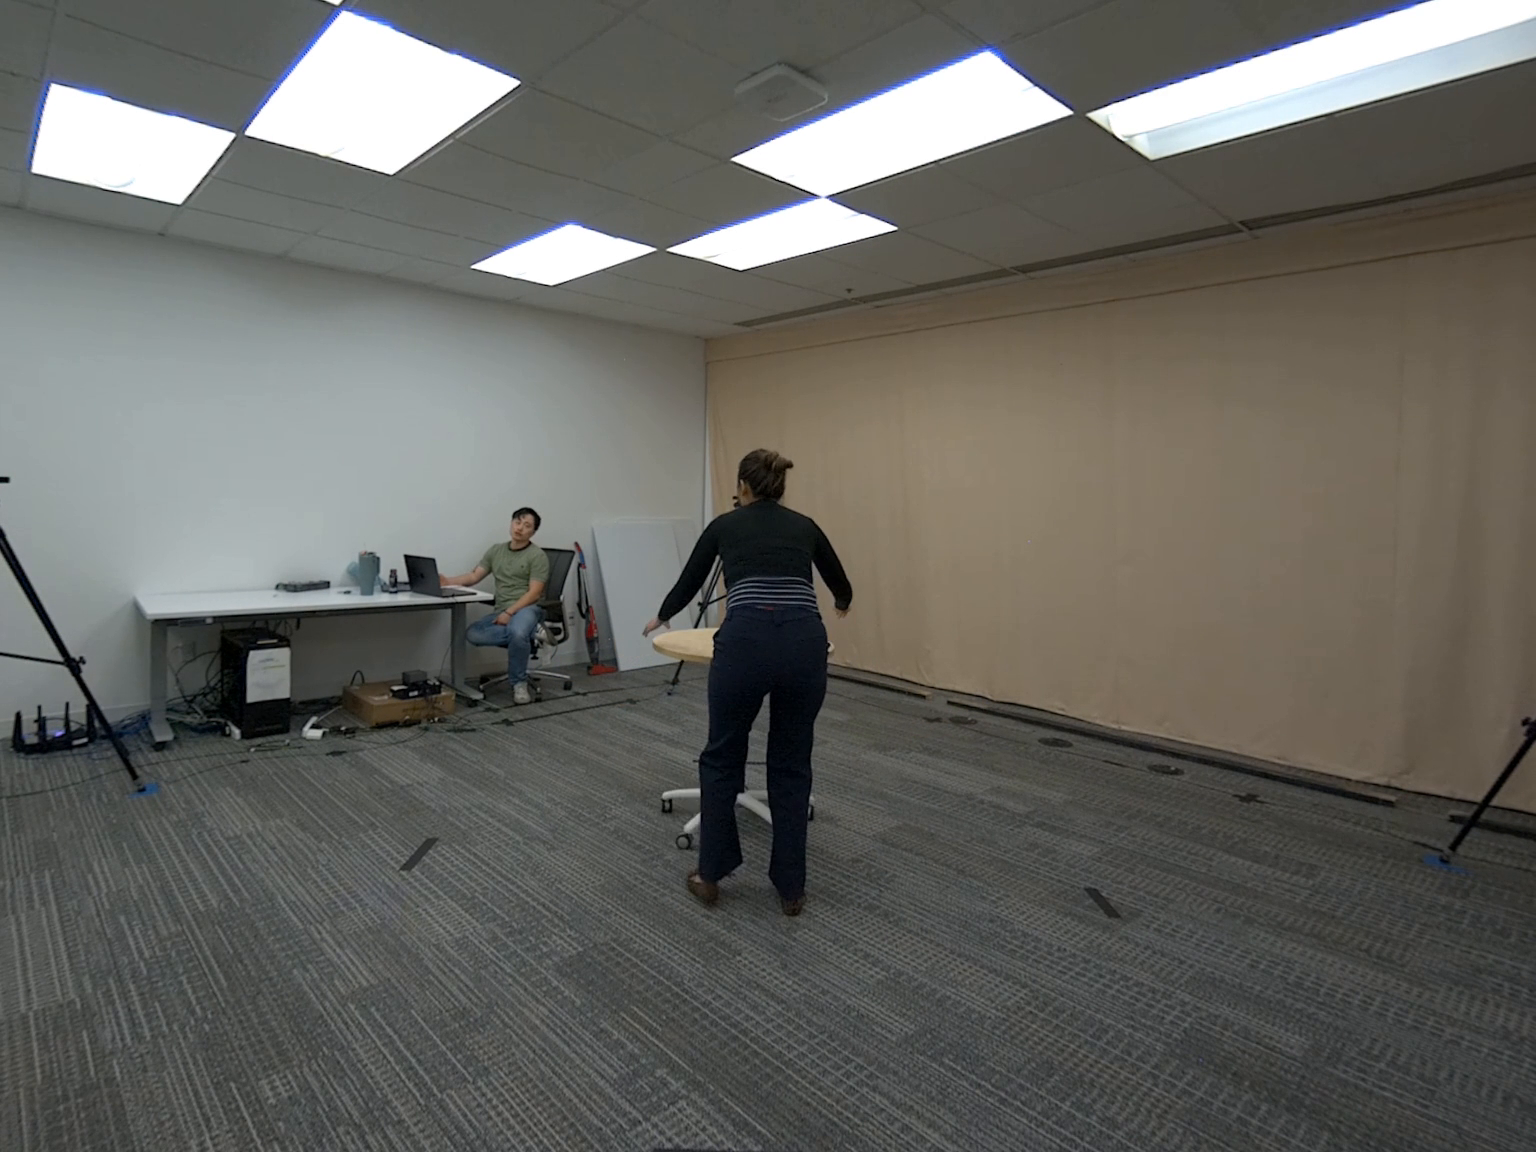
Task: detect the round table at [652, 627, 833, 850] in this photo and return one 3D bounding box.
[{"bbox_3d":[-0.122,0.673,3.573,0.763,0.792,0.766,1,4,-1],"label":"round table"}]
